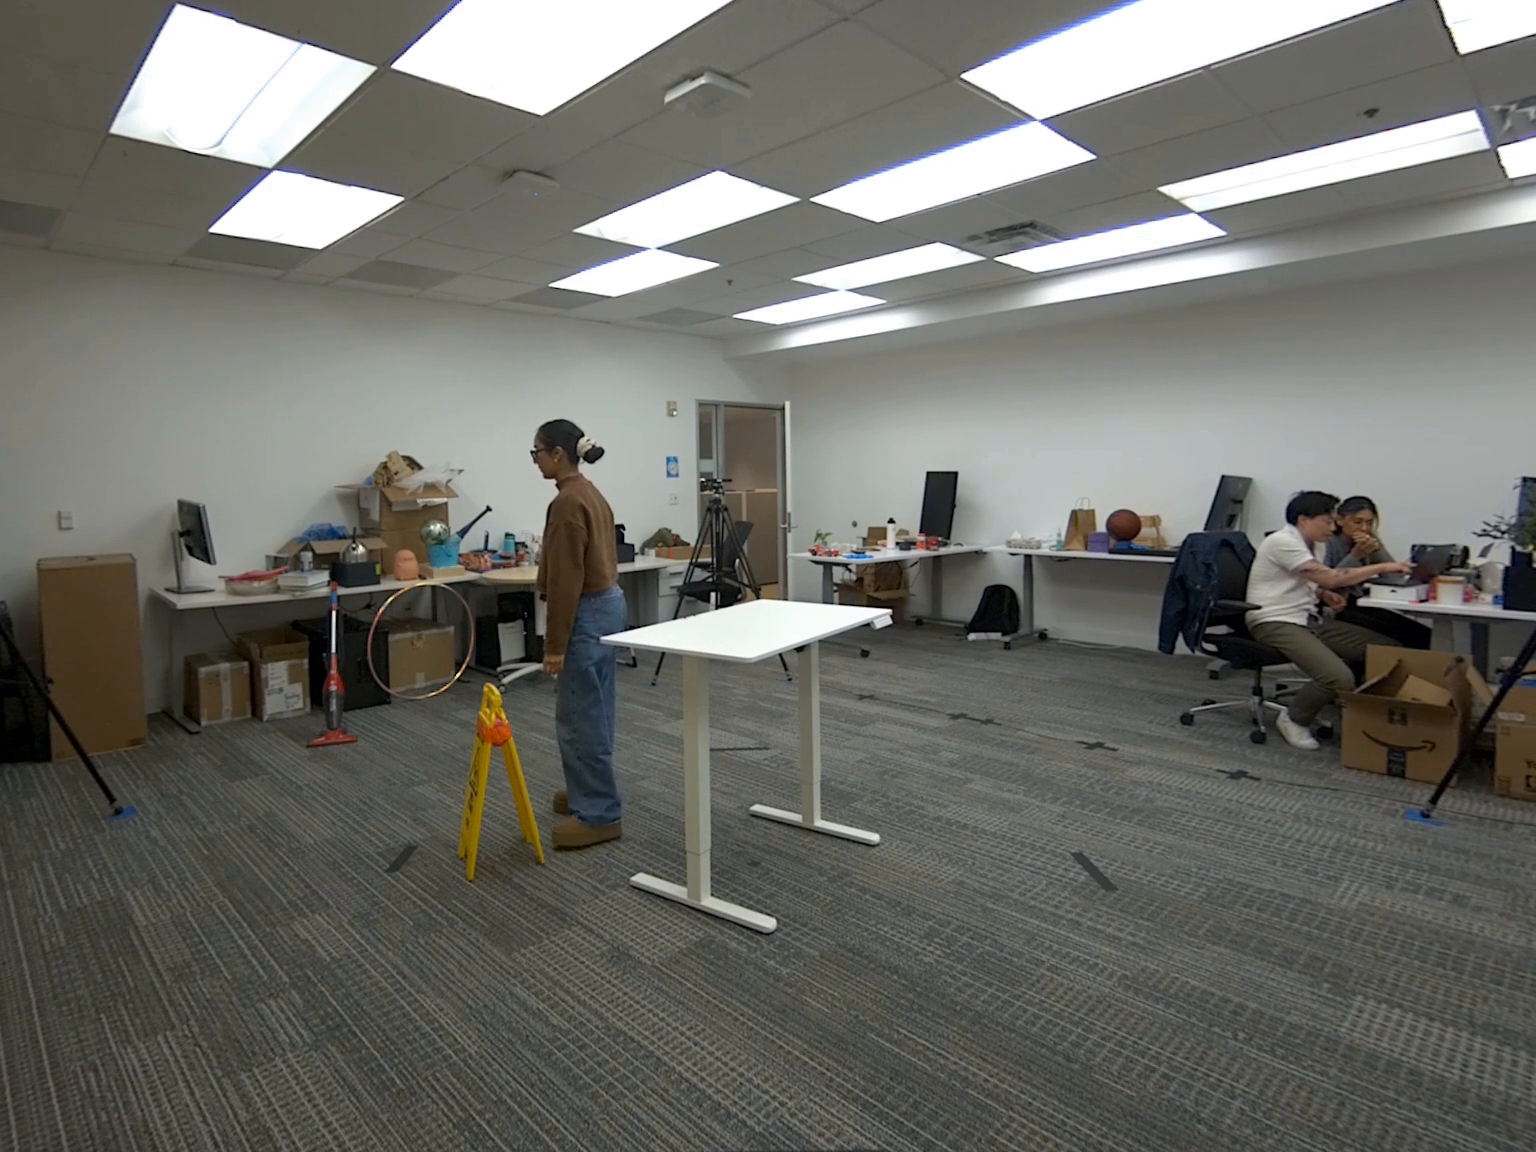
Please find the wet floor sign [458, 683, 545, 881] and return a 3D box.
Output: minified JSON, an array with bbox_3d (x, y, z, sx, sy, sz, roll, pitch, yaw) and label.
[{"bbox_3d":[-1.001,0.733,3.167,0.283,0.643,0.290,-4,6,-27],"label":"wet floor sign"}]
